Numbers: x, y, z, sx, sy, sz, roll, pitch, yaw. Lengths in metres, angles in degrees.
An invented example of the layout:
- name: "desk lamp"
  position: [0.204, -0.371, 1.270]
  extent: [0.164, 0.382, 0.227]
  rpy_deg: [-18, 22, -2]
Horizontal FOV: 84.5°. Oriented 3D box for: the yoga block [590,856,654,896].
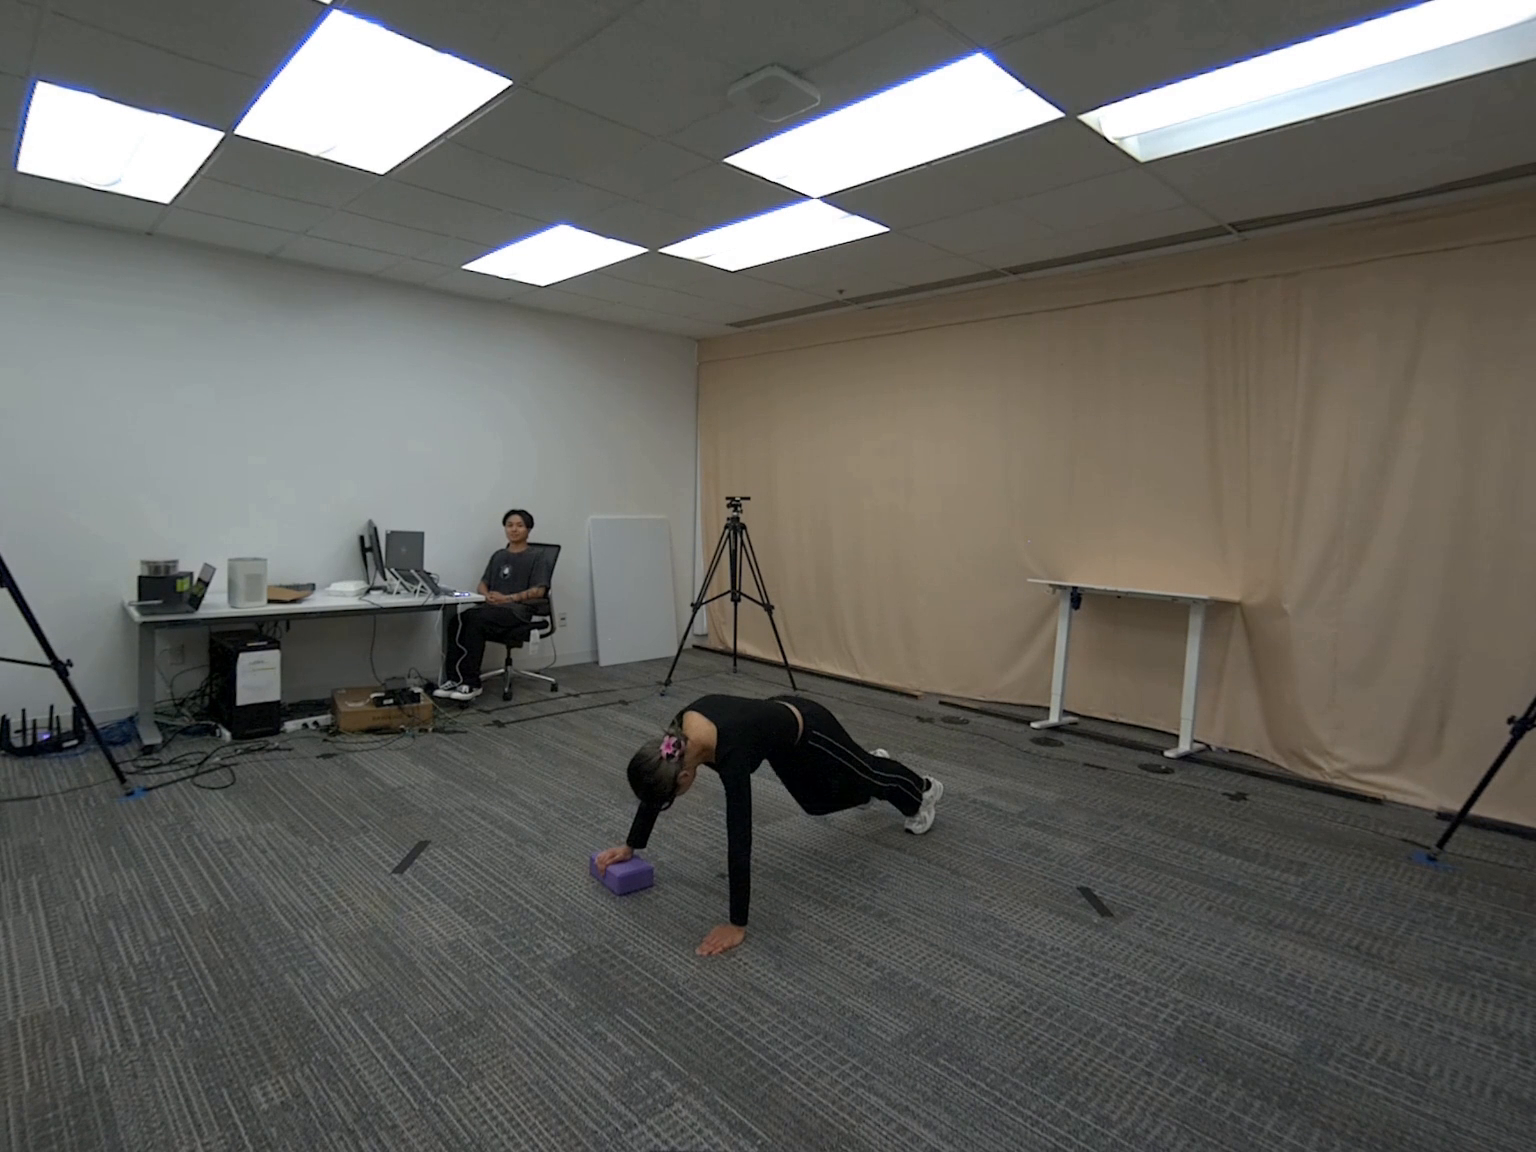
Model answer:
- name: "yoga block"
  position: [-0.535, 1.067, 3.050]
  extent: [0.146, 0.076, 0.235]
  rpy_deg: [-3, 5, -37]
